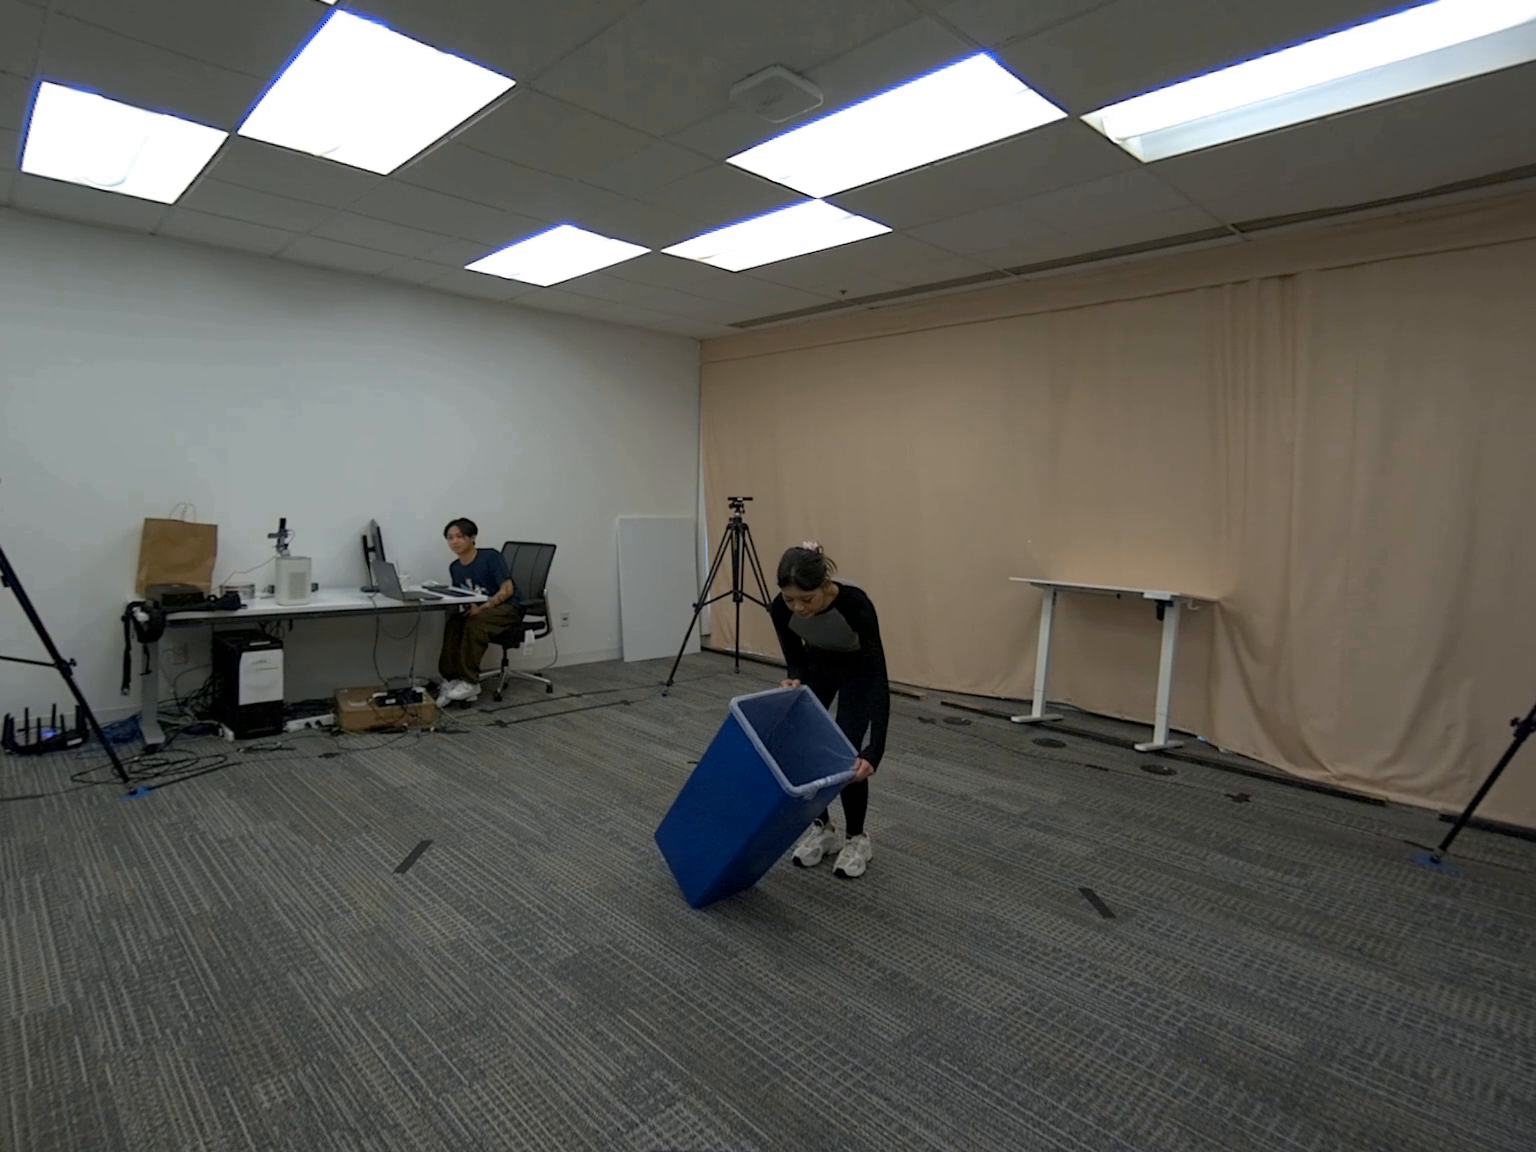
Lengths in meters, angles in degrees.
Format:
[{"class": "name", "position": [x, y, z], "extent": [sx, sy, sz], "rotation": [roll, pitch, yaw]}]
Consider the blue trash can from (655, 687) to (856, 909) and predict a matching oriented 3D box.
[{"class": "blue trash can", "position": [-0.066, 0.761, 2.841], "extent": [0.365, 0.709, 0.389], "rotation": [-3, 45, -45]}]
